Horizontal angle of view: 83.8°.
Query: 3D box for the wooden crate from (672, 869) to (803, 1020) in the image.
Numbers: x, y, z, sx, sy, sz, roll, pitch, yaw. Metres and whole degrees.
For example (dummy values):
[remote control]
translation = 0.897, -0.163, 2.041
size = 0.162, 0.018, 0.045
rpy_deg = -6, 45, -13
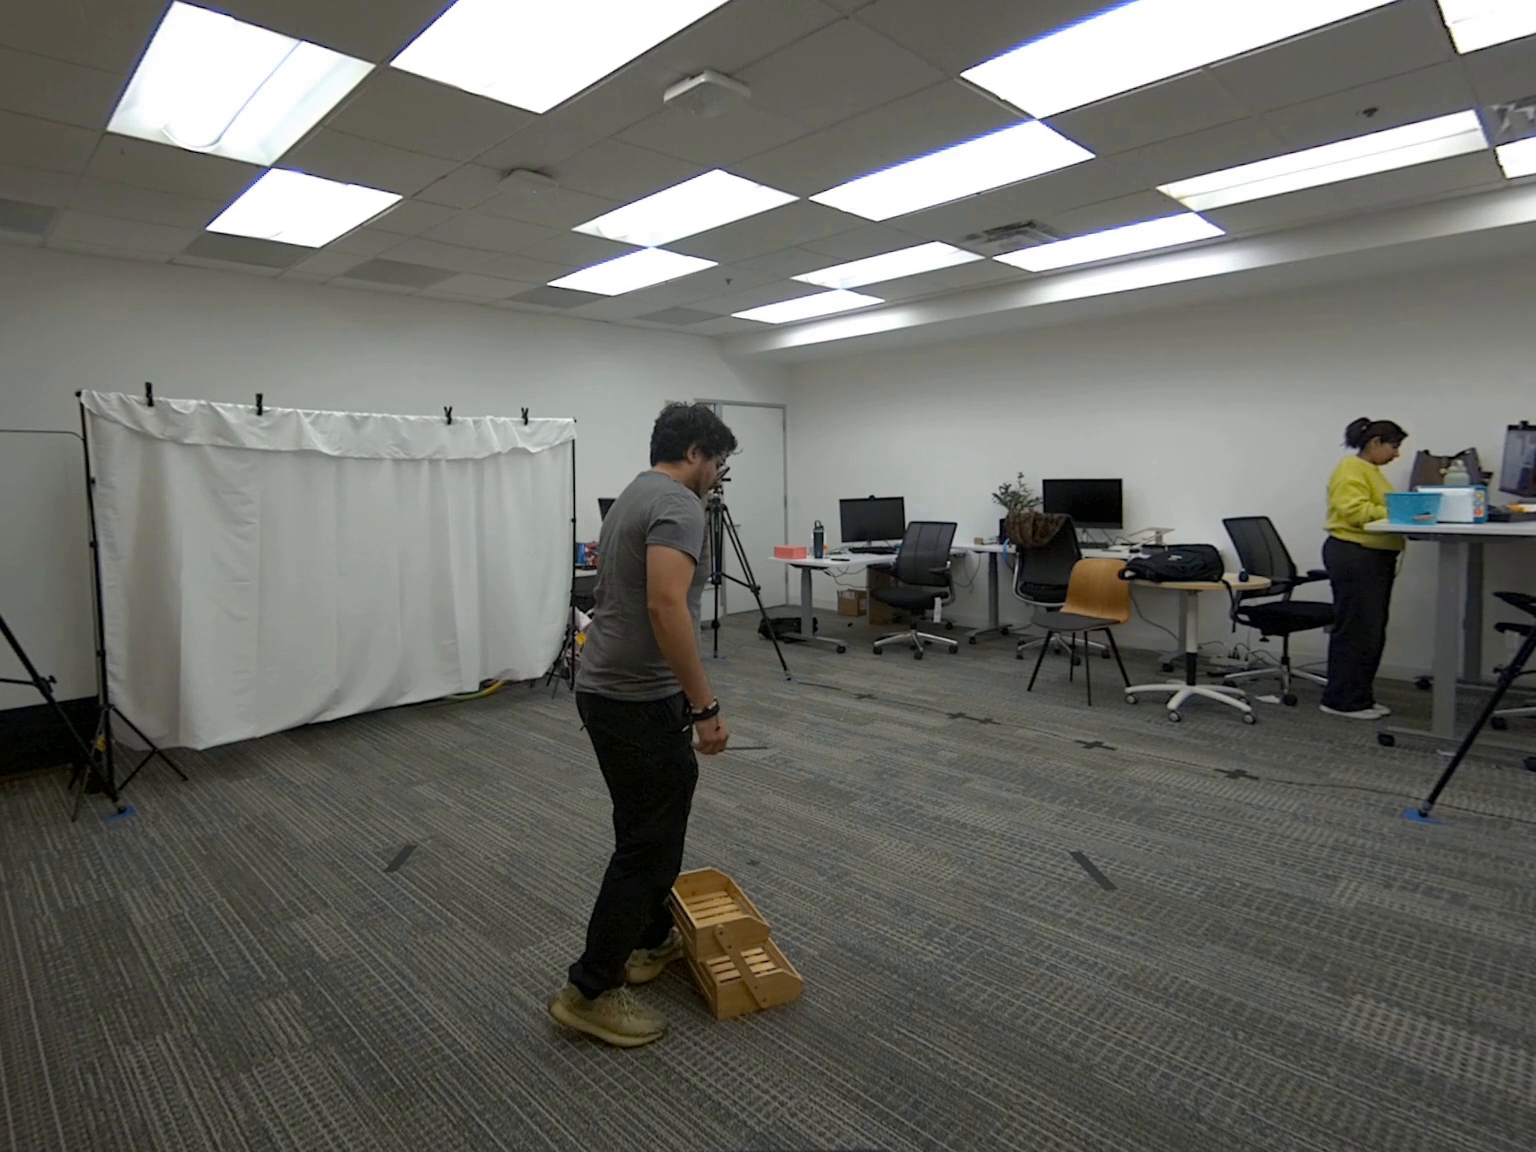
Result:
[wooden crate]
translation = -0.095, 0.998, 2.372
size = 0.296, 0.272, 0.332
rpy_deg = -4, 6, -22
